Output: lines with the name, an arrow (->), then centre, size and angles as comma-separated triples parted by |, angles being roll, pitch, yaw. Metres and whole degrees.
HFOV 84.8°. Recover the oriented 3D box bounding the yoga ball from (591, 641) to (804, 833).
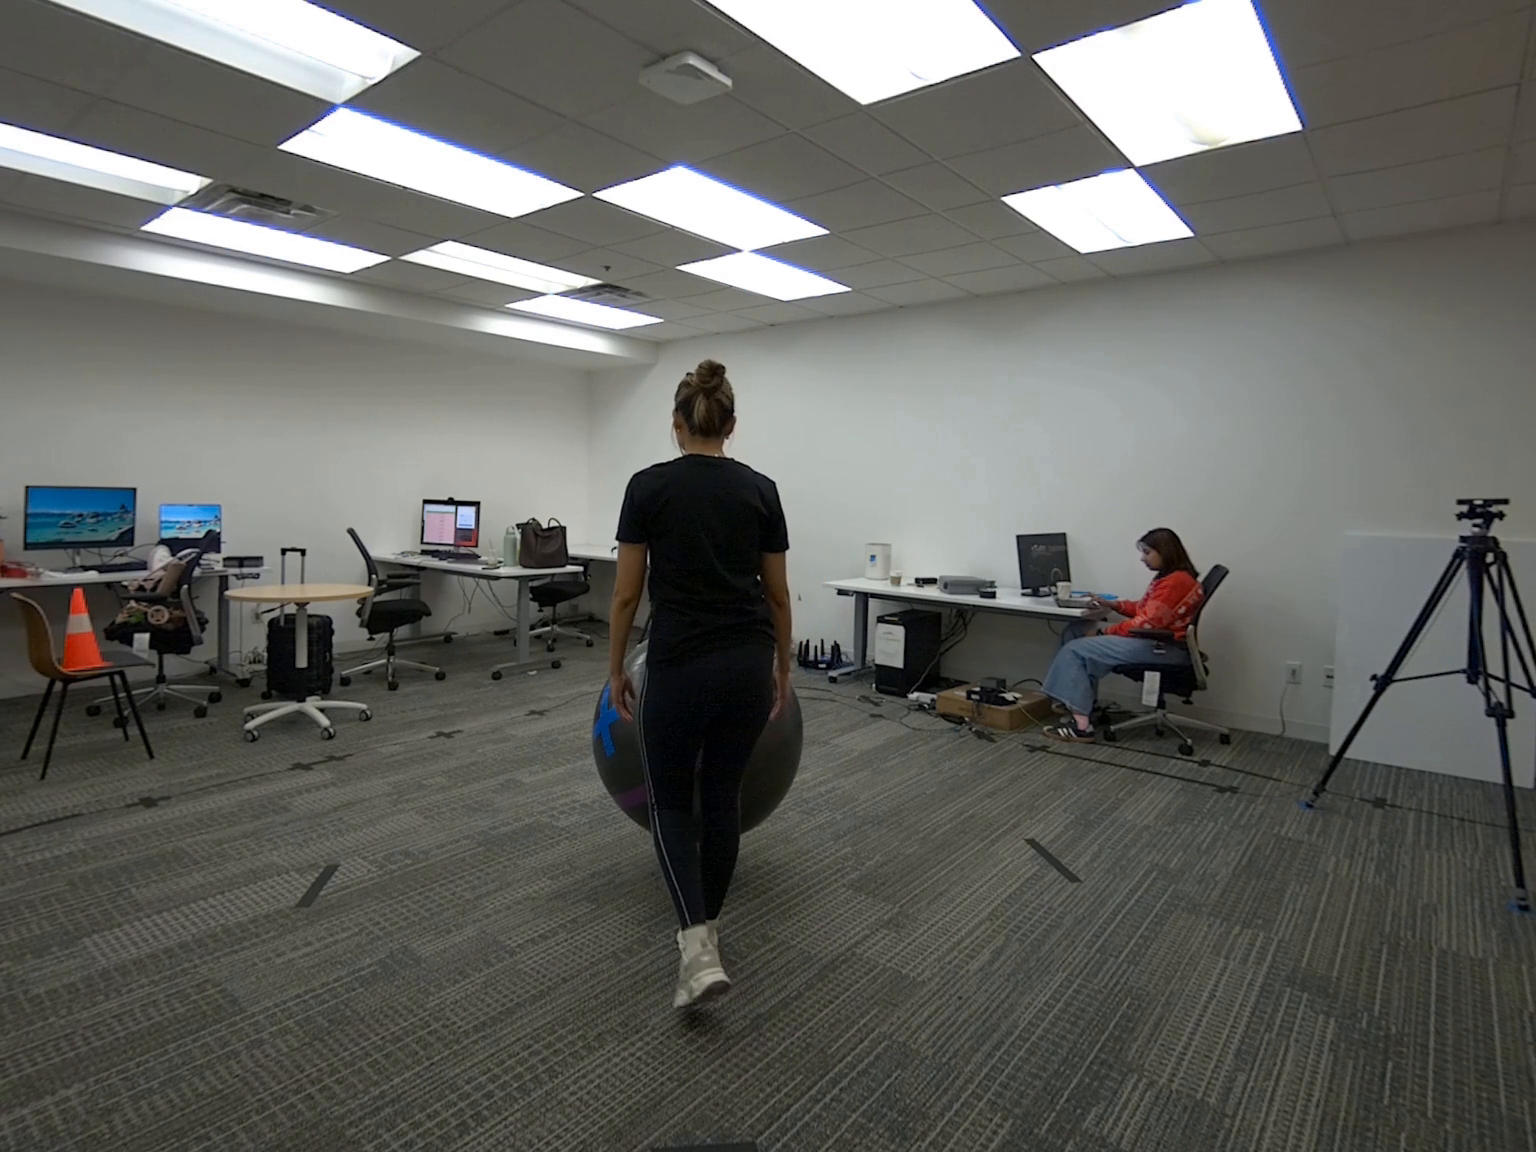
yoga ball -> -0.261, 0.560, 3.066 | 0.757, 0.756, 0.762 | 1, 4, -2
